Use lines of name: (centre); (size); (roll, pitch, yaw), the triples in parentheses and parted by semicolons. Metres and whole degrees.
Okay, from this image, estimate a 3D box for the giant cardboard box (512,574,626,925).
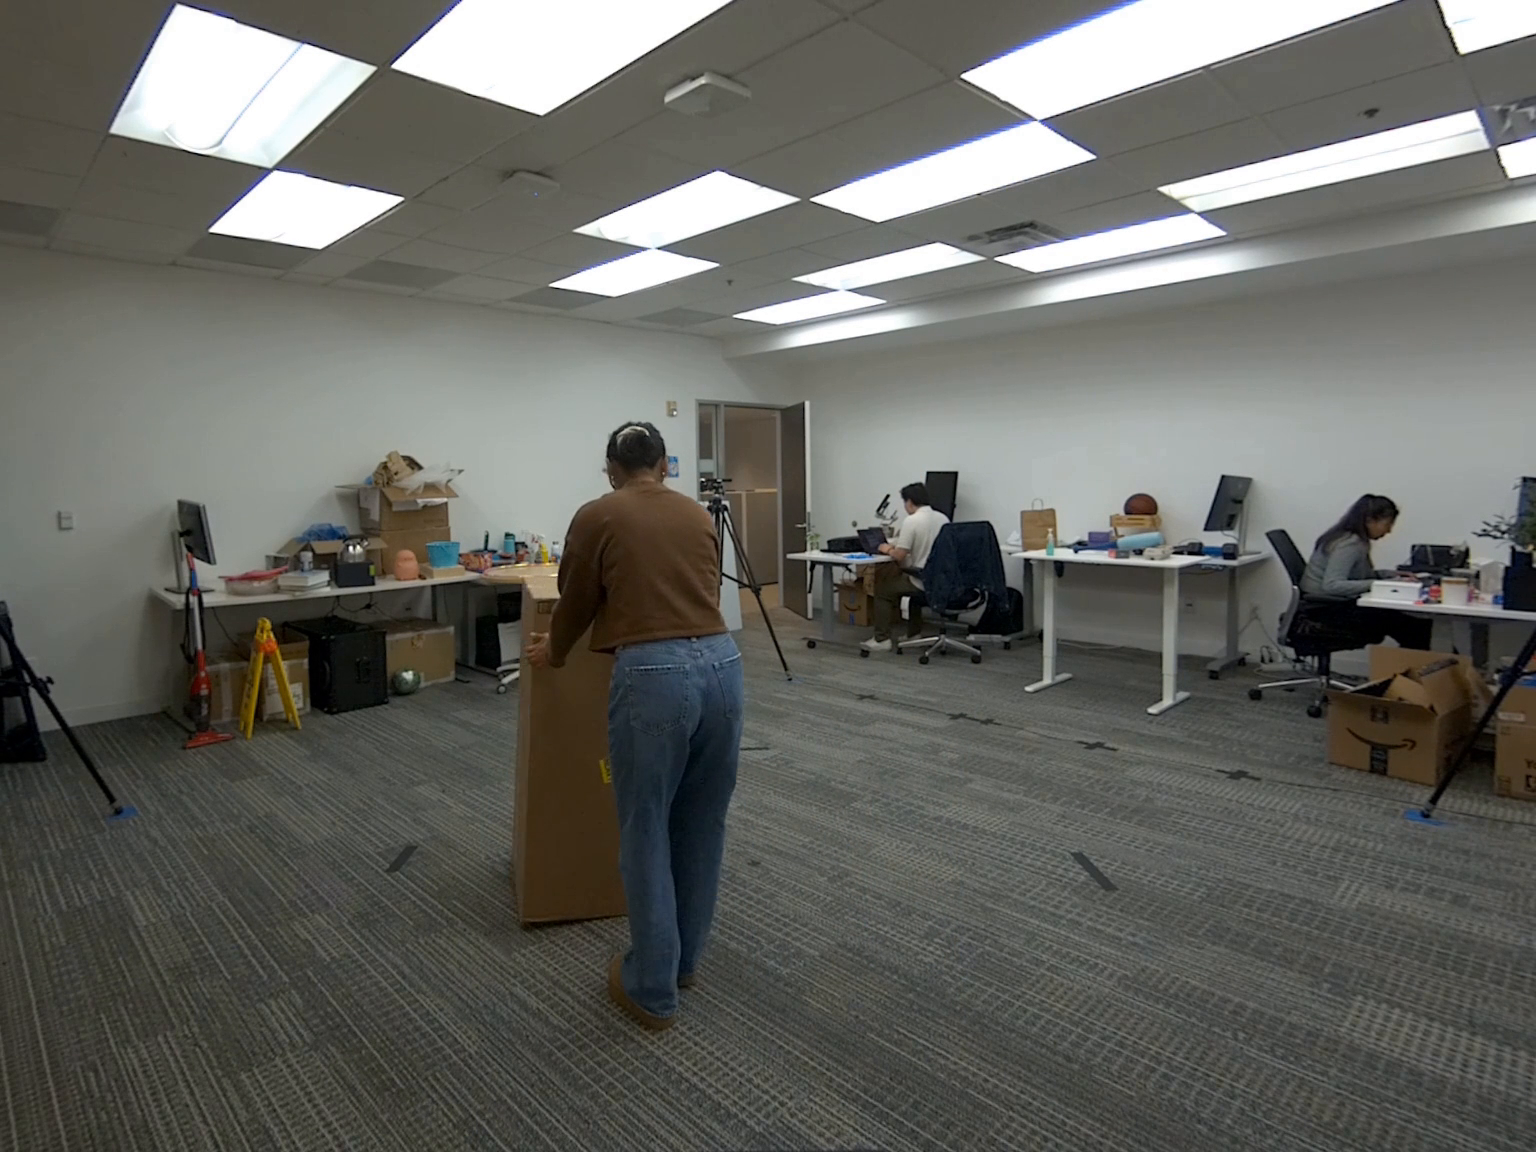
giant cardboard box: (-0.638, 0.549, 2.965); (0.419, 1.023, 0.589); (2, 4, -19)
